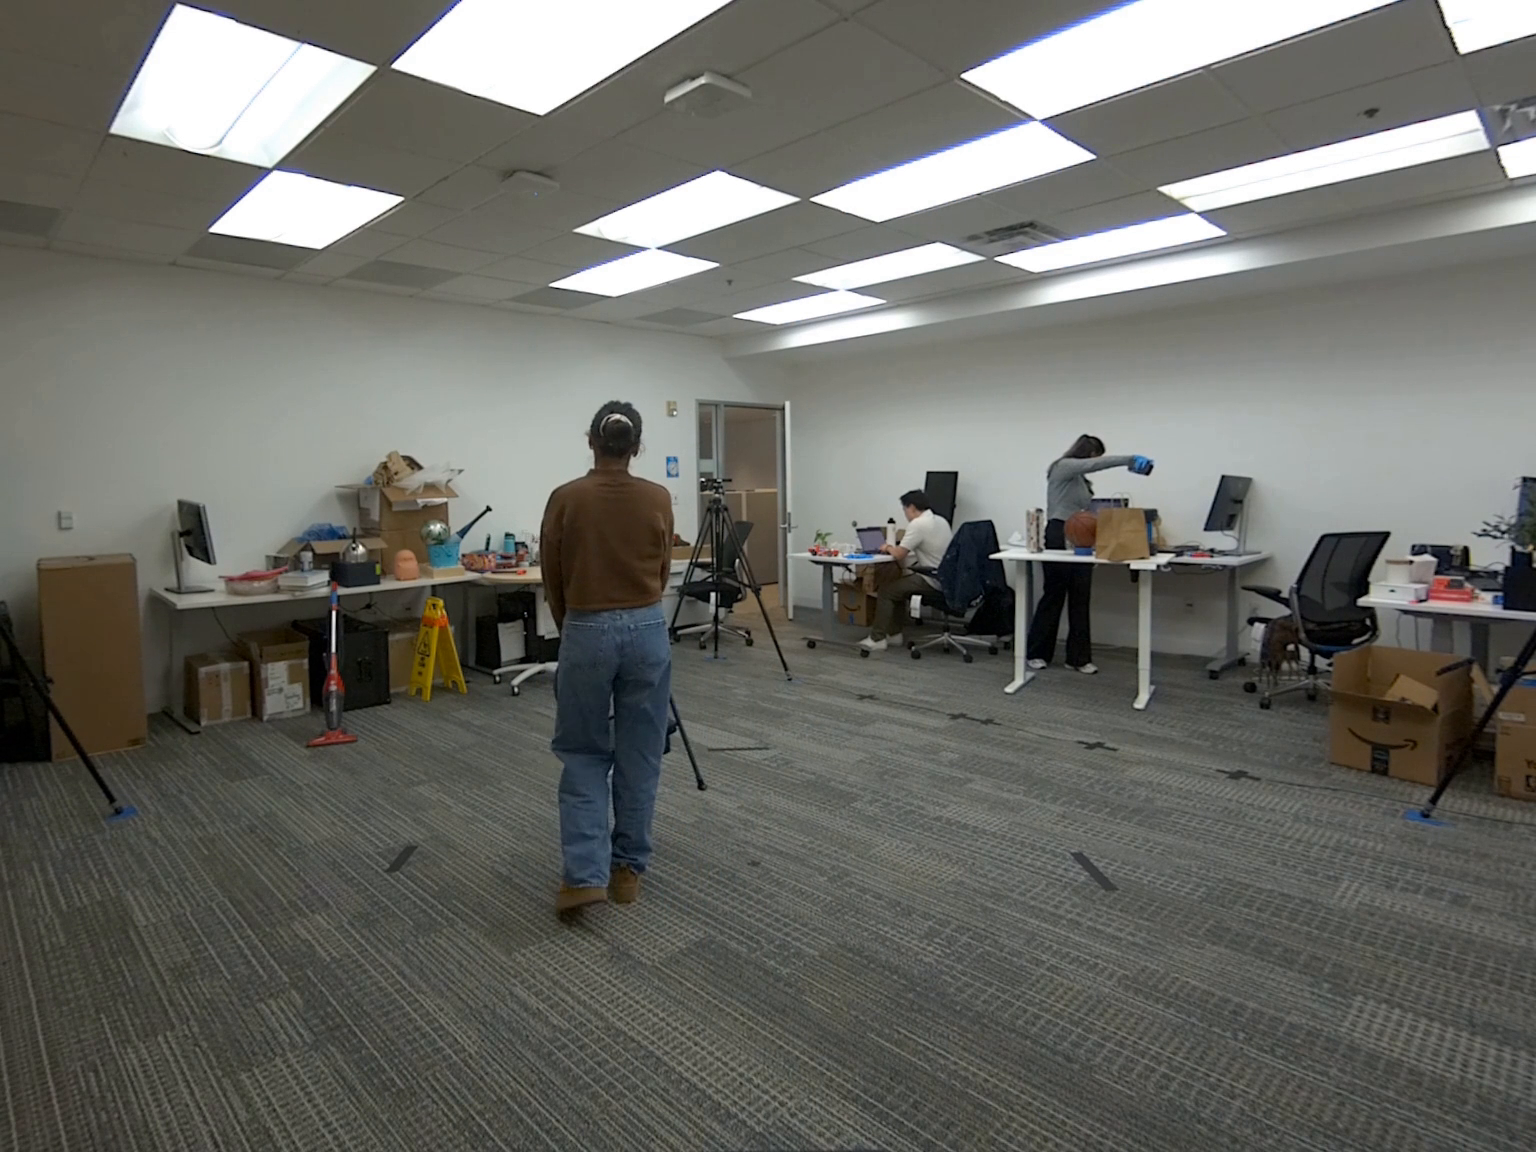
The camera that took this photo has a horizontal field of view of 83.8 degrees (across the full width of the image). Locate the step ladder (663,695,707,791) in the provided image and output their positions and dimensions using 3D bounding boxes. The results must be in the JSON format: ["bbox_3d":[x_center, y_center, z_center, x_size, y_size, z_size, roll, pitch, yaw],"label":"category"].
[{"bbox_3d":[-0.536,0.533,3.135,0.424,0.595,0.361,-18,20,-25],"label":"step ladder"}]
